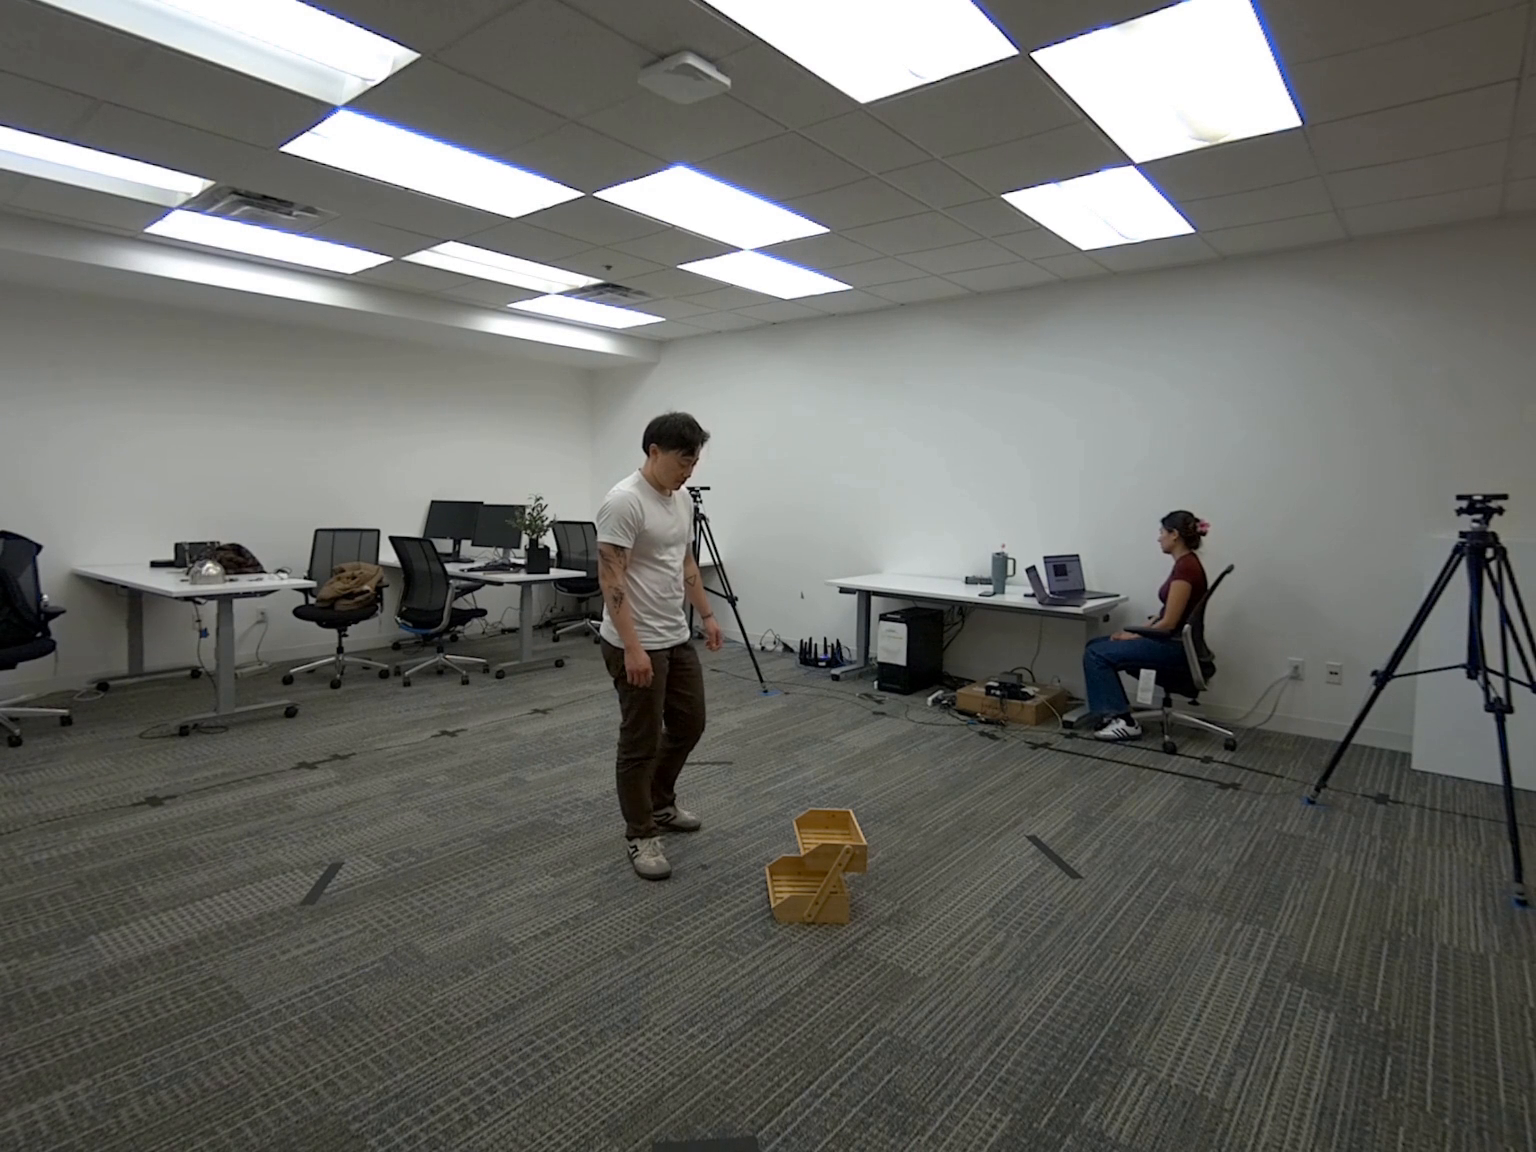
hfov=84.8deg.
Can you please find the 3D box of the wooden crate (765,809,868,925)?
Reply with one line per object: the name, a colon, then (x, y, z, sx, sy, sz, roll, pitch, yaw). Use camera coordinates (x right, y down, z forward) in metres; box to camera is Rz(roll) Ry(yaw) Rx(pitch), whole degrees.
wooden crate: (0.144, 0.961, 2.867, 0.301, 0.272, 0.326, 1, 4, -3)
